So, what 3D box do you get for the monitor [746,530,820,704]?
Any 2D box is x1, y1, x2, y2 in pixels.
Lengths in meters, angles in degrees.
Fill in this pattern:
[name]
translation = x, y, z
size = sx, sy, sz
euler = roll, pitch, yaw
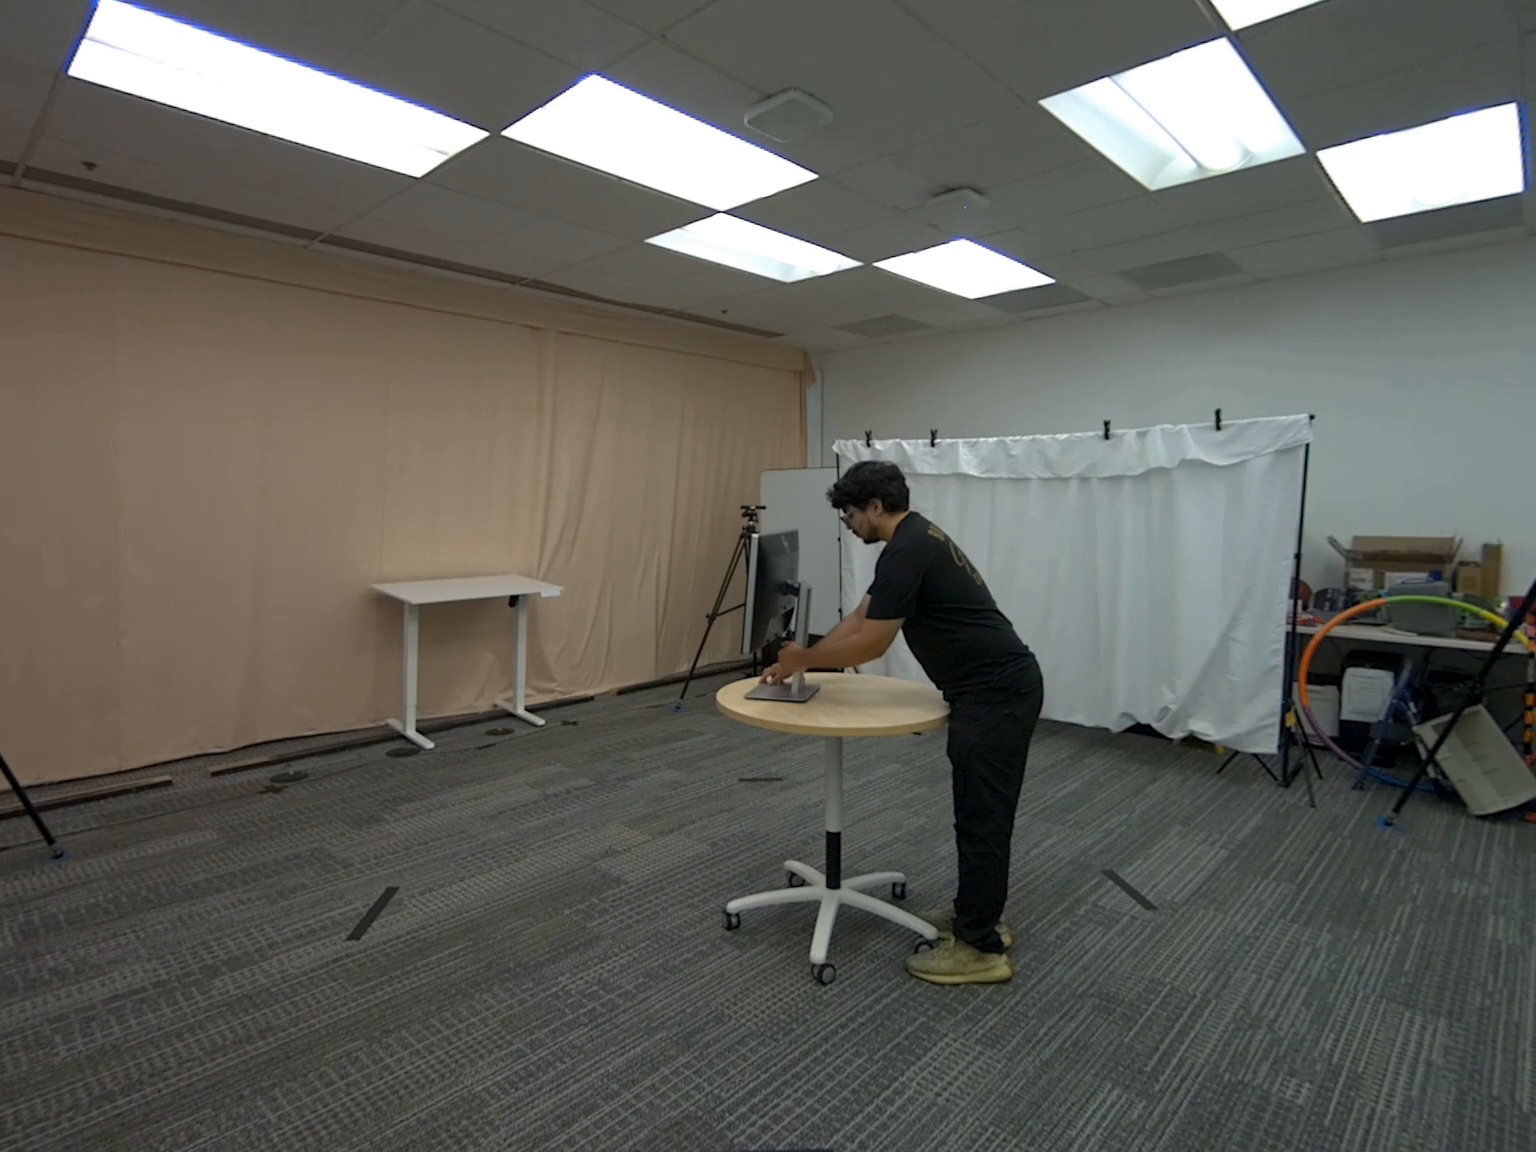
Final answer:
[monitor]
translation = 0.077, 0.129, 2.751
size = 0.214, 0.552, 0.556
euler = 4, 5, 16
